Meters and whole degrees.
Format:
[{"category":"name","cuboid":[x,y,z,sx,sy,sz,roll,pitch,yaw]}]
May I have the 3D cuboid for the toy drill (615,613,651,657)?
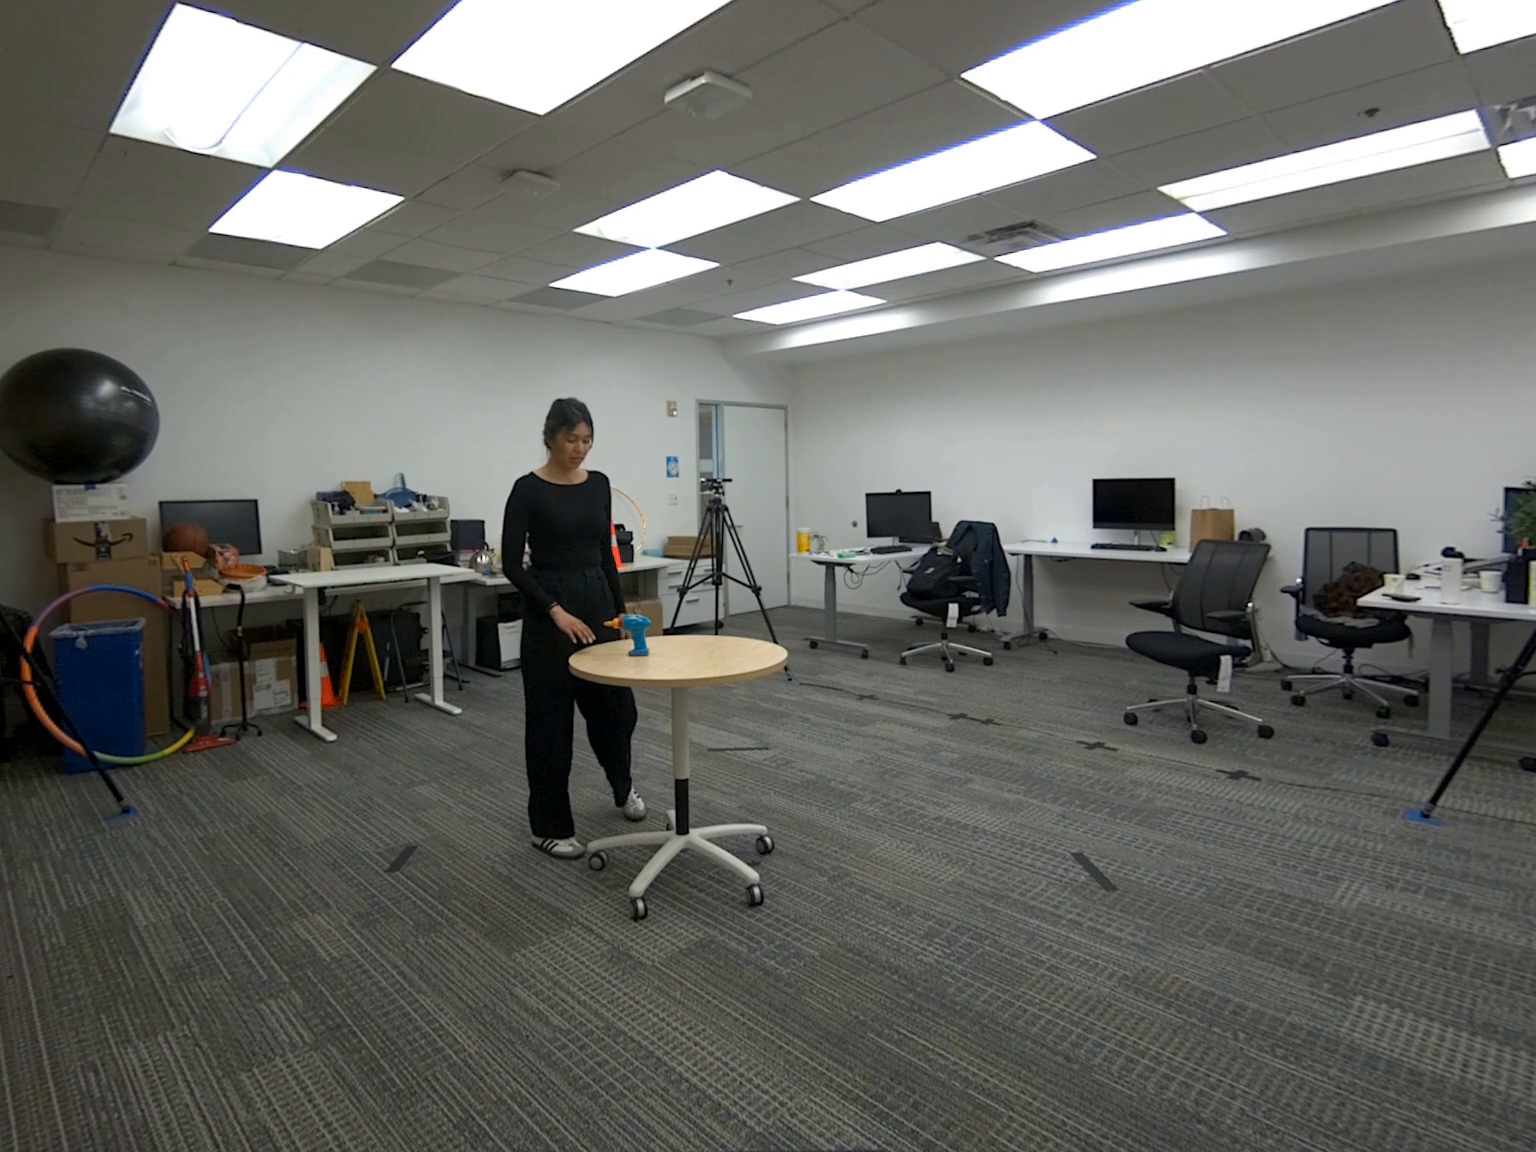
[{"category":"toy drill","cuboid":[-0.496,0.206,3.014,0.170,0.146,0.061,-1,2,1]}]
